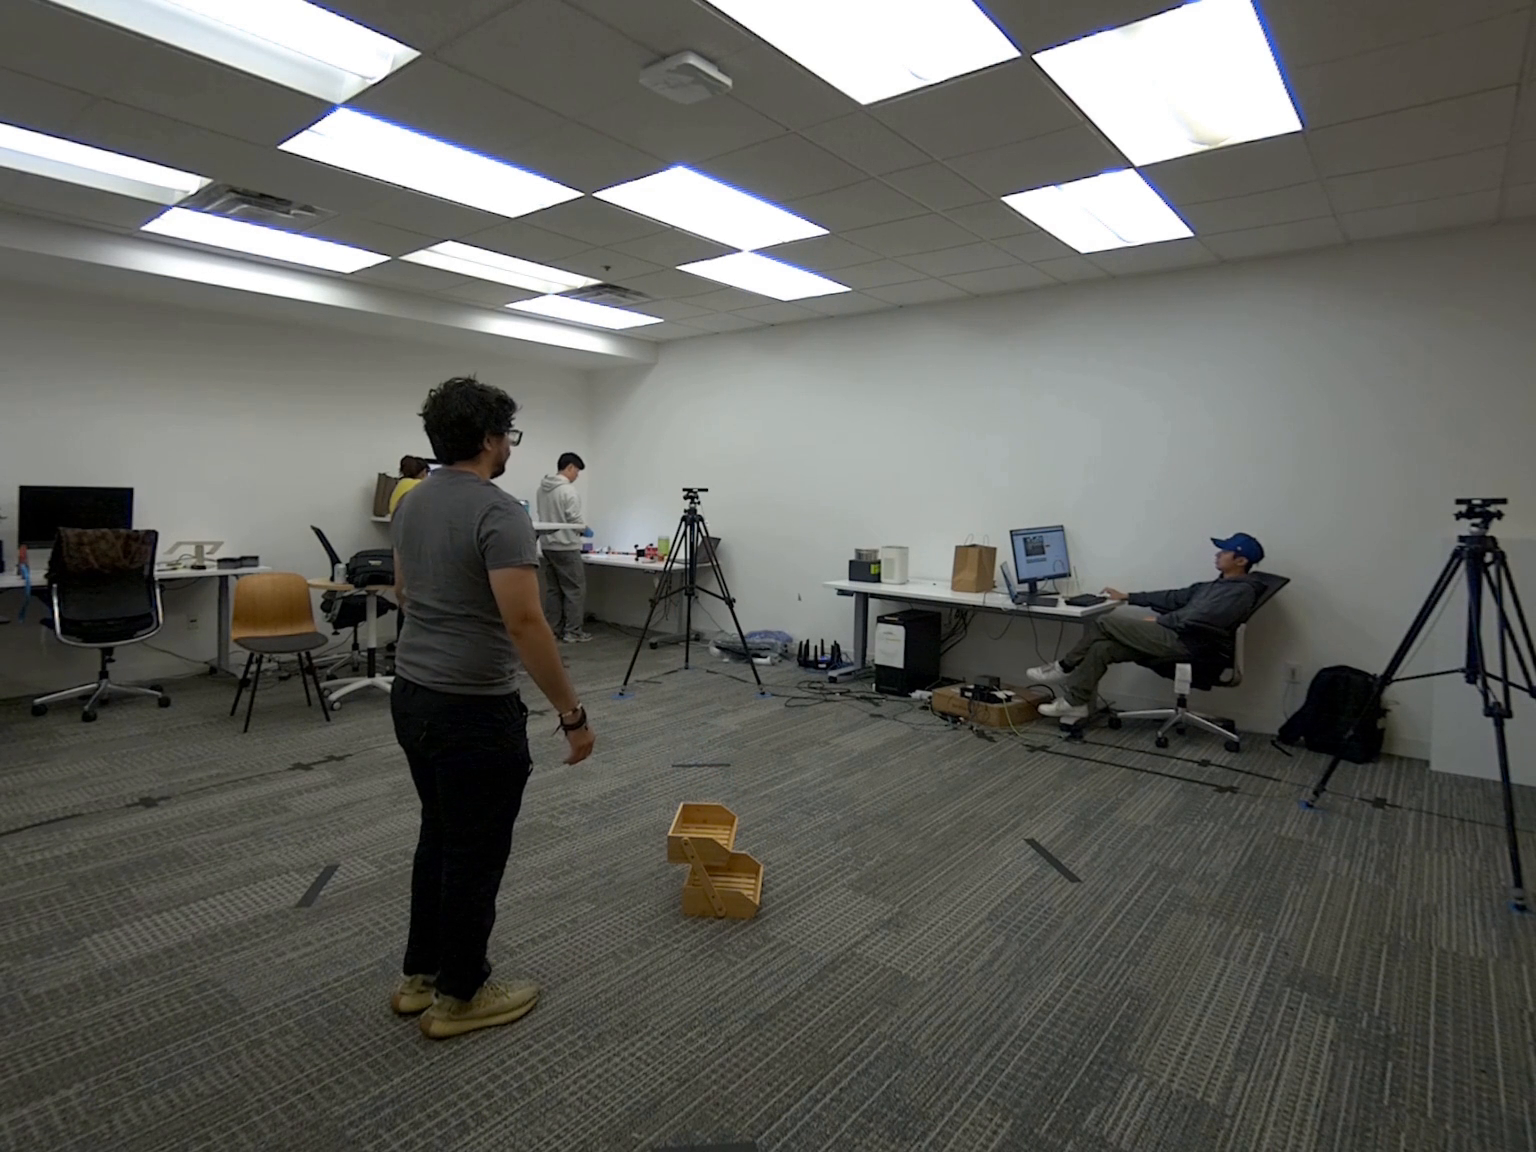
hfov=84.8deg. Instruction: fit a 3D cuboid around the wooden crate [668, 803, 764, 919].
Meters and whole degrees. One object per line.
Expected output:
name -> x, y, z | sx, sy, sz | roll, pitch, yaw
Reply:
wooden crate -> -0.176, 0.955, 2.903 | 0.304, 0.272, 0.324 | 0, 4, 4
